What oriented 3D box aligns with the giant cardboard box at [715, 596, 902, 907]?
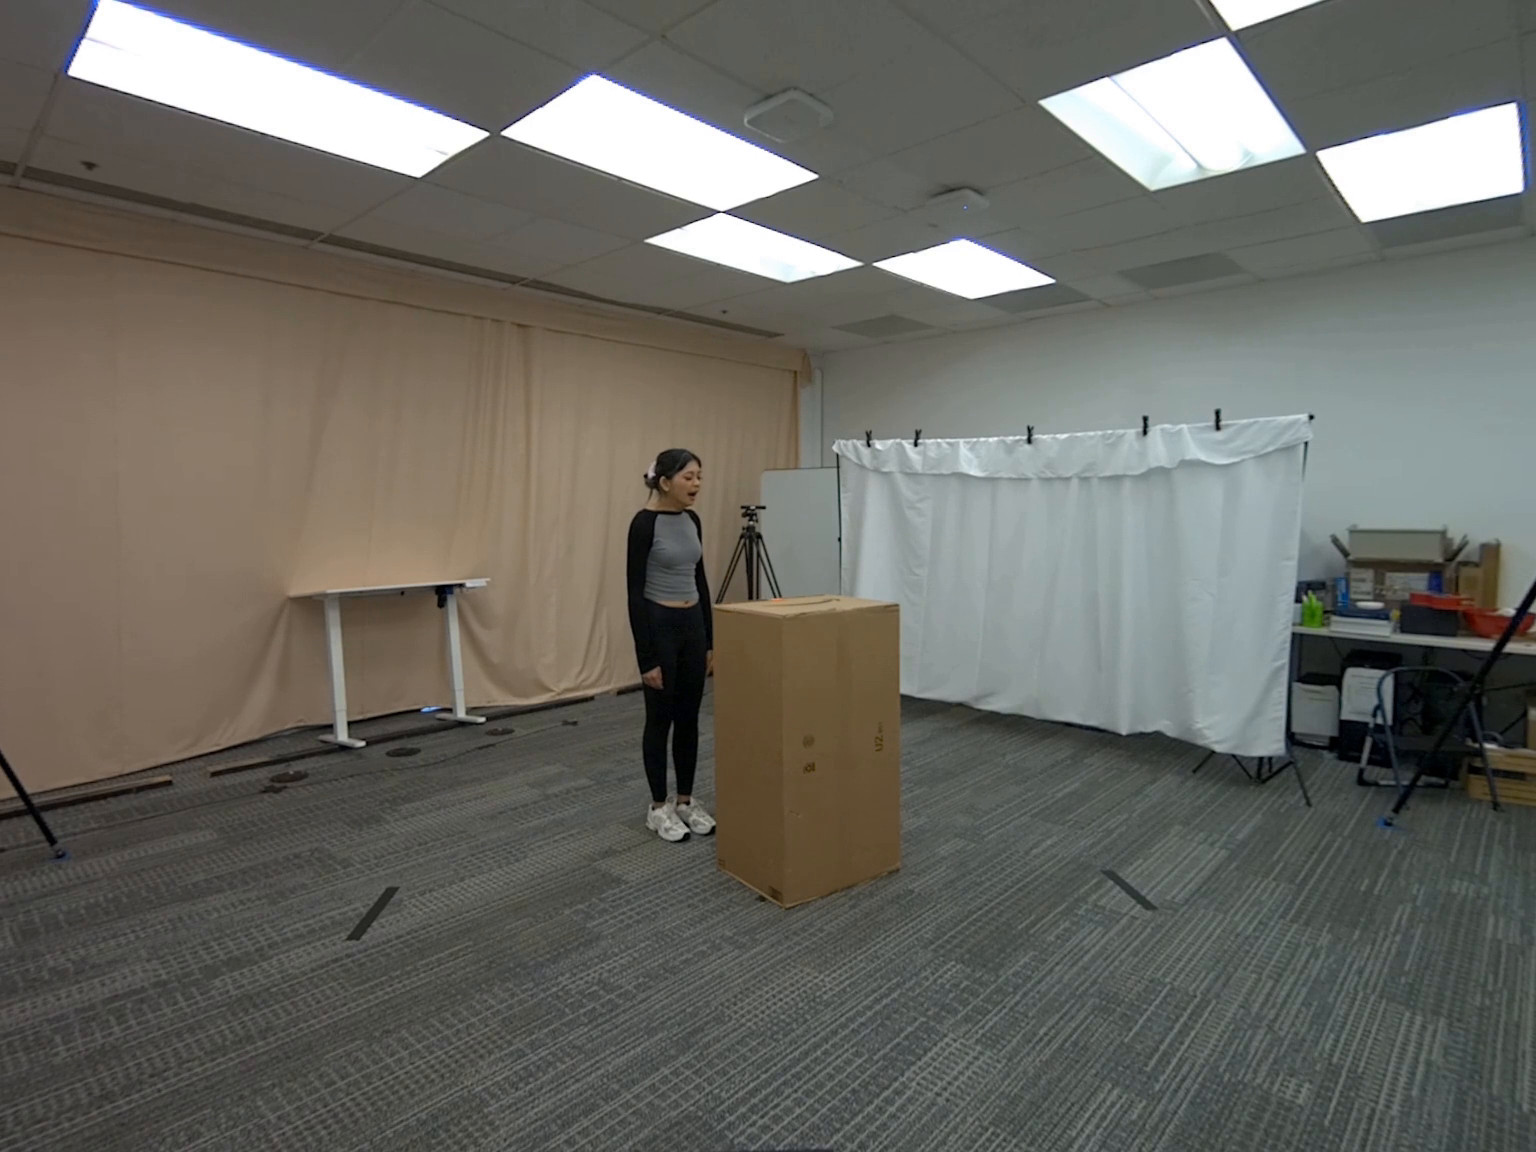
[{"bbox_3d":[0.150,0.617,3.210,0.567,1.025,0.461,-3,4,-37],"label":"giant cardboard box"}]
